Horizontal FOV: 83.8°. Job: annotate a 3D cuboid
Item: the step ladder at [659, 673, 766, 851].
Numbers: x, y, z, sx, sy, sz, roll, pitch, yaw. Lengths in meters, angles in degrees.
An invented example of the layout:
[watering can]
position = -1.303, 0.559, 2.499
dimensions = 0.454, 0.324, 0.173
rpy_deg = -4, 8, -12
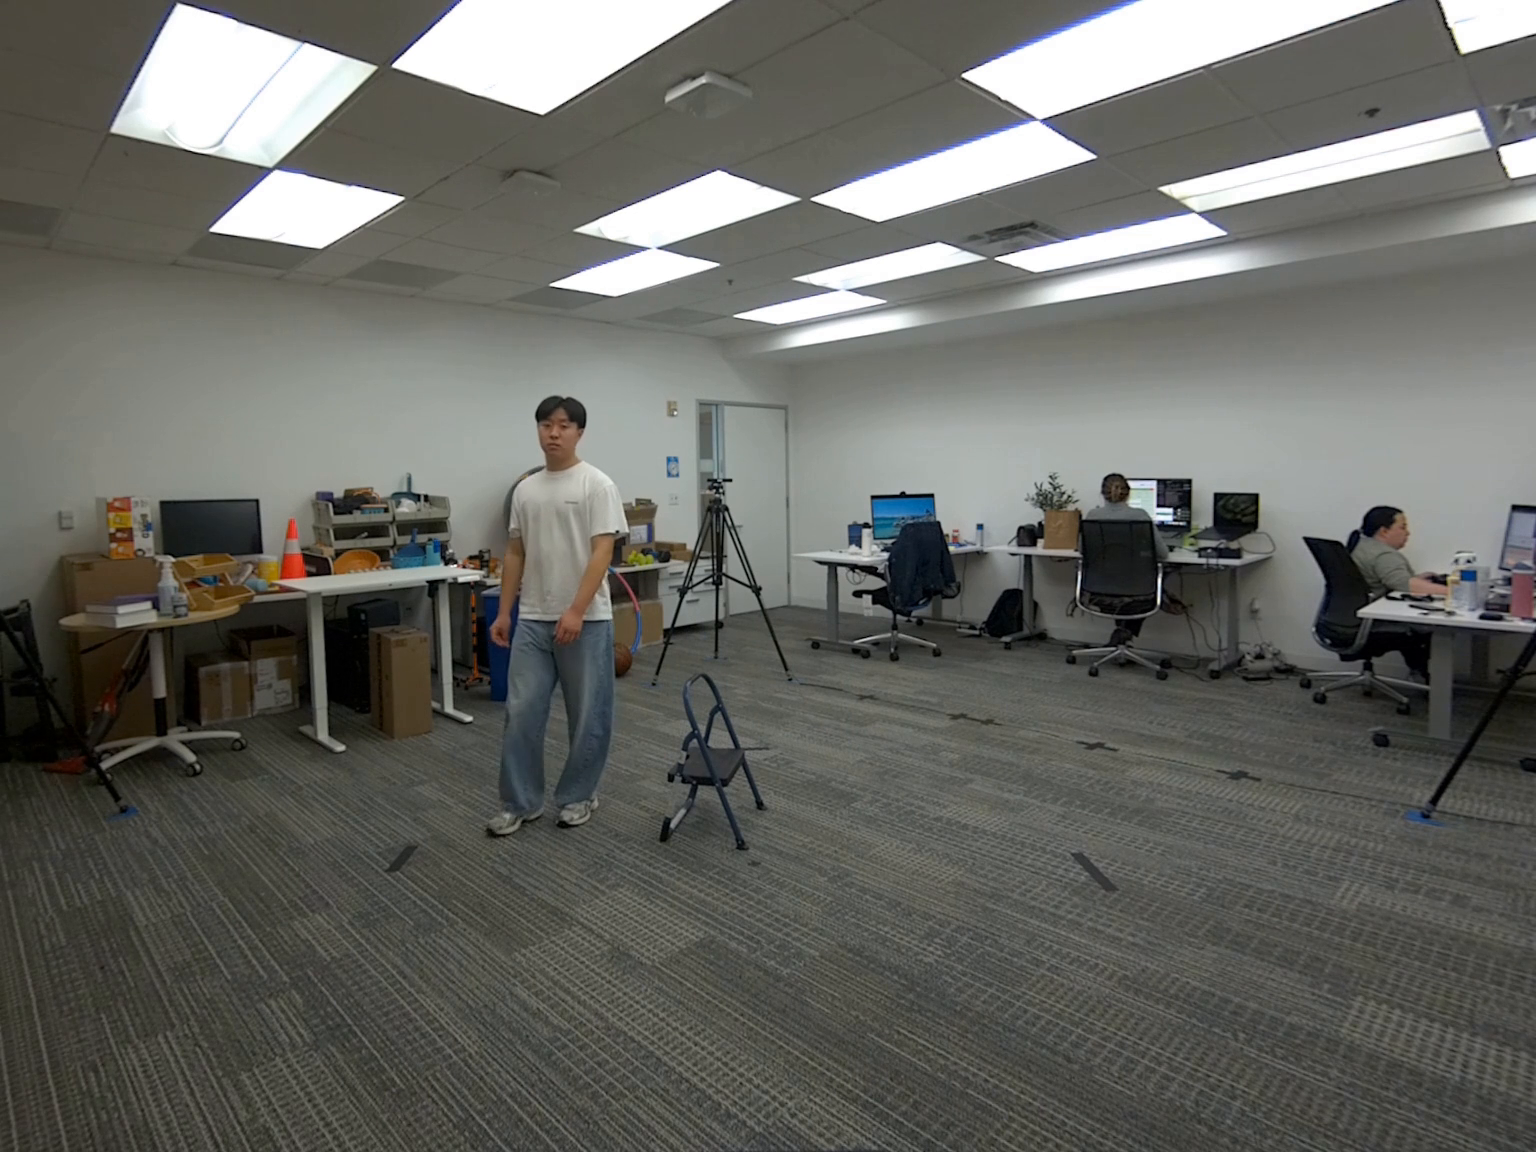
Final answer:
[step ladder]
position = -0.222, 0.706, 3.445
dimensions = 0.354, 0.604, 0.427
rpy_deg = 0, 4, 12
